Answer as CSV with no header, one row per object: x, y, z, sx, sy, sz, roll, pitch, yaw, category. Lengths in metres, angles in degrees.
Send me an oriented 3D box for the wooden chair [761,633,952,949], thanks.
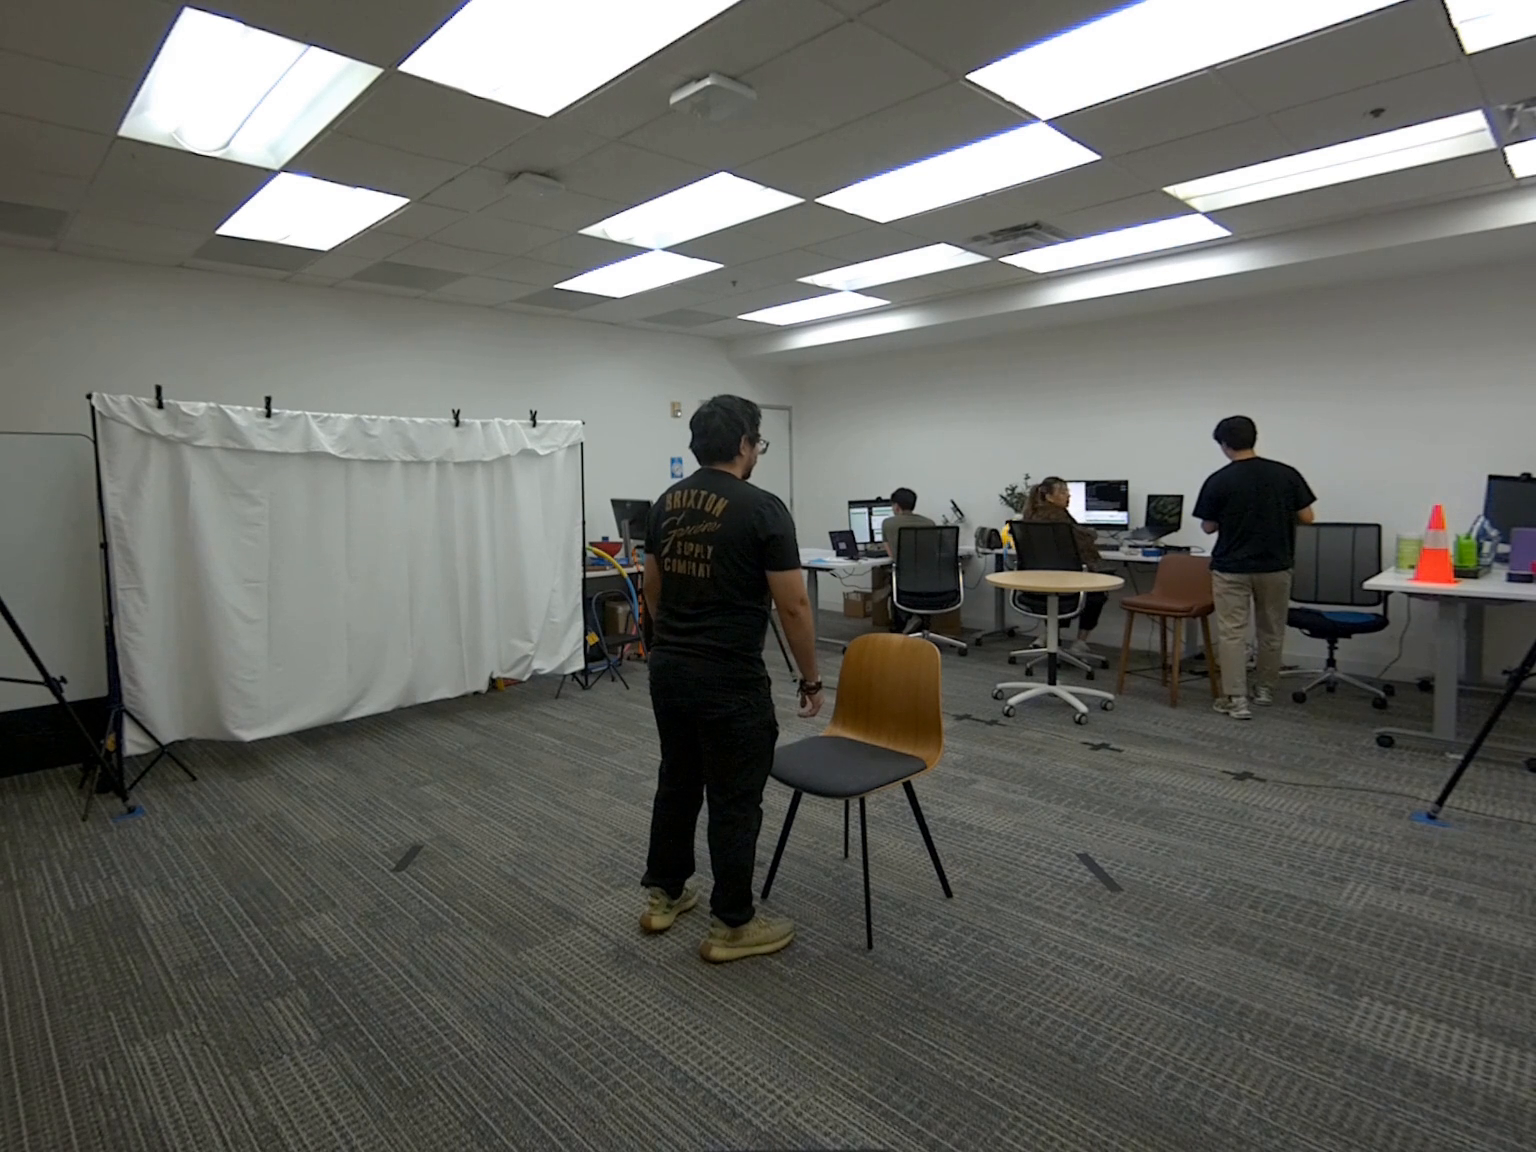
0.284,0.647,2.806,0.508,0.877,0.493,1,2,-44,wooden chair
